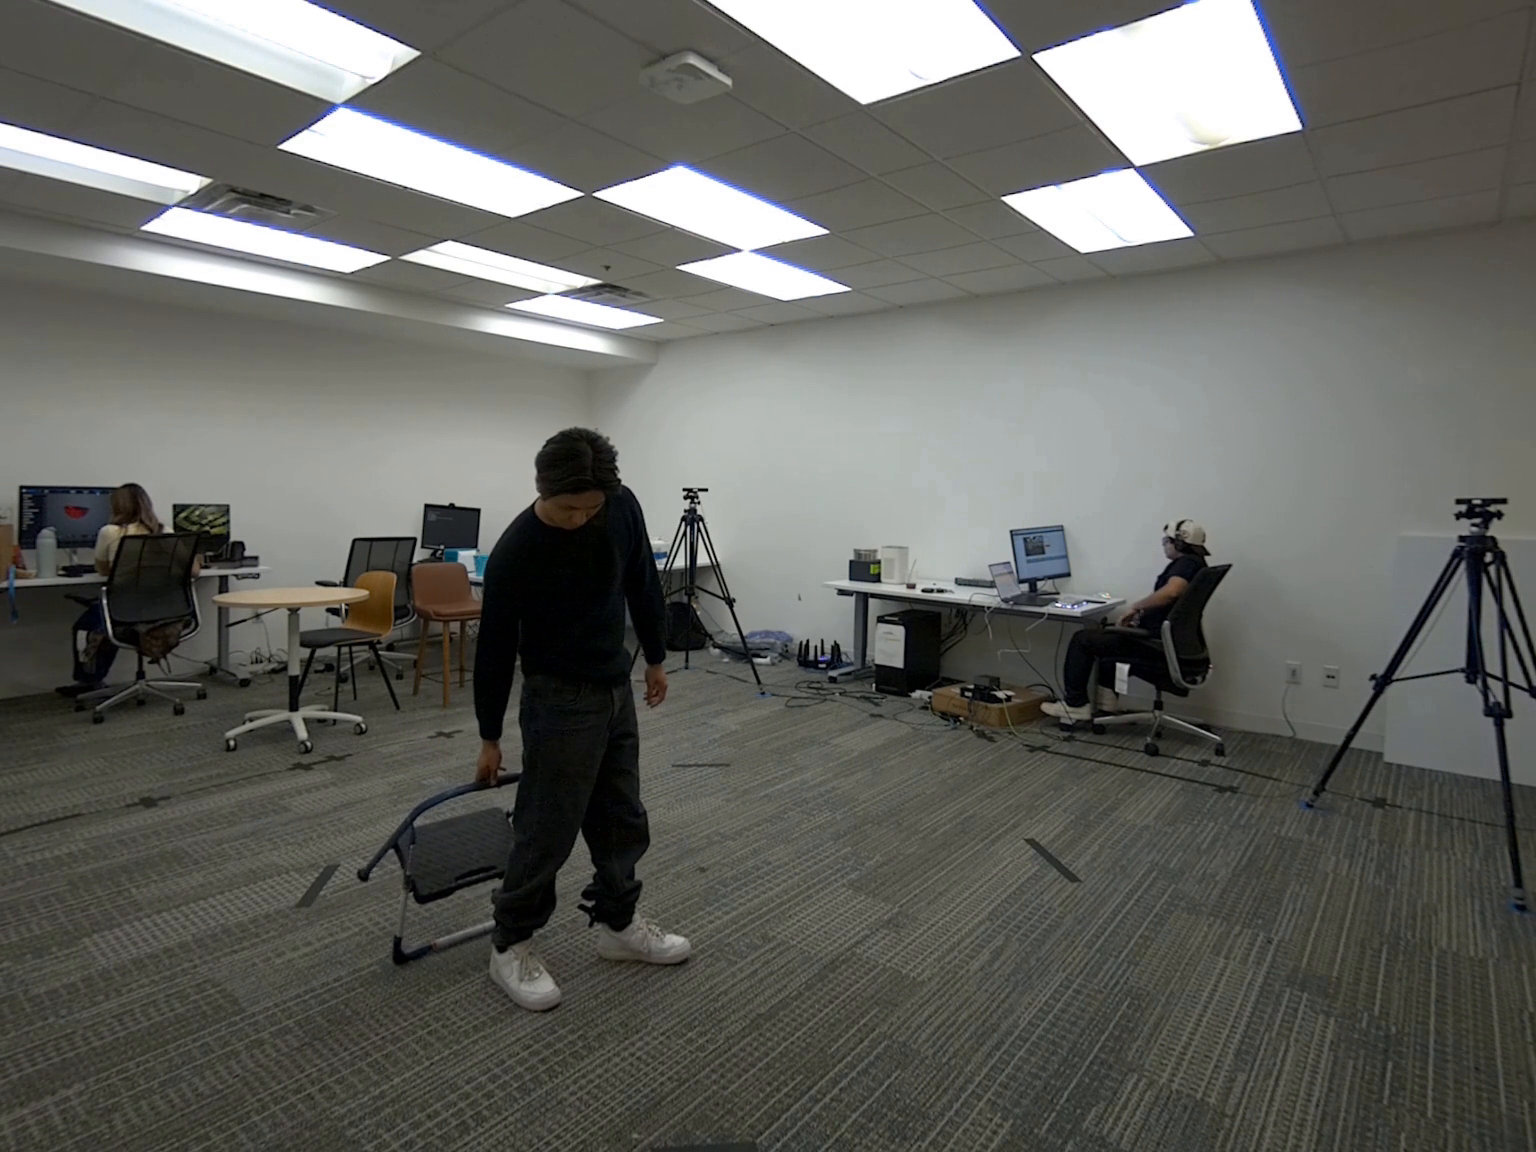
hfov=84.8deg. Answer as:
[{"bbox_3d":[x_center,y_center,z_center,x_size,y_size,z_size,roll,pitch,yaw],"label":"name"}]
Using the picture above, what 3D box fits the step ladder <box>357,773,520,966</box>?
[{"bbox_3d":[-0.937,0.777,2.563,0.418,0.599,0.364,-4,38,-44],"label":"step ladder"}]
